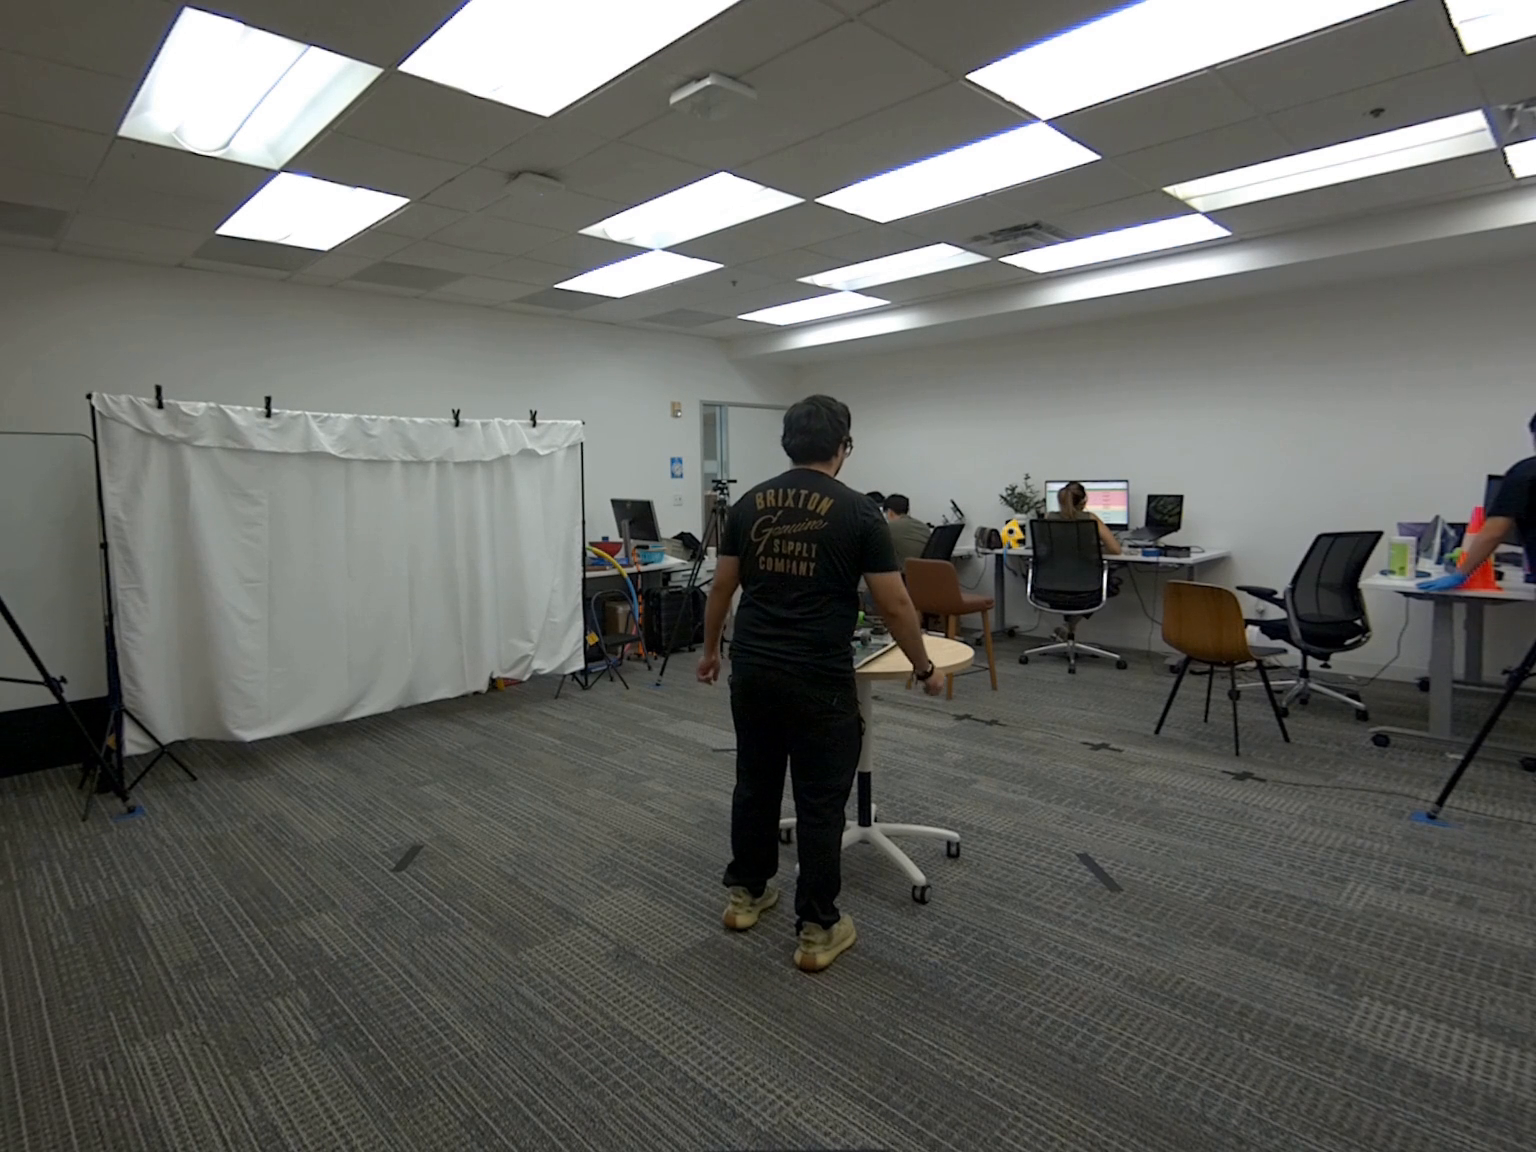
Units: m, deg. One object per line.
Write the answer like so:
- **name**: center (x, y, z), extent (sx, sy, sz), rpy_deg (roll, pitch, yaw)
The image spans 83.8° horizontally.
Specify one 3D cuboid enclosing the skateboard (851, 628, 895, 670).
- **skateboard**: center (0.350, 0.220, 3.028), extent (0.198, 0.110, 0.770), rpy_deg (1, 7, 26)
